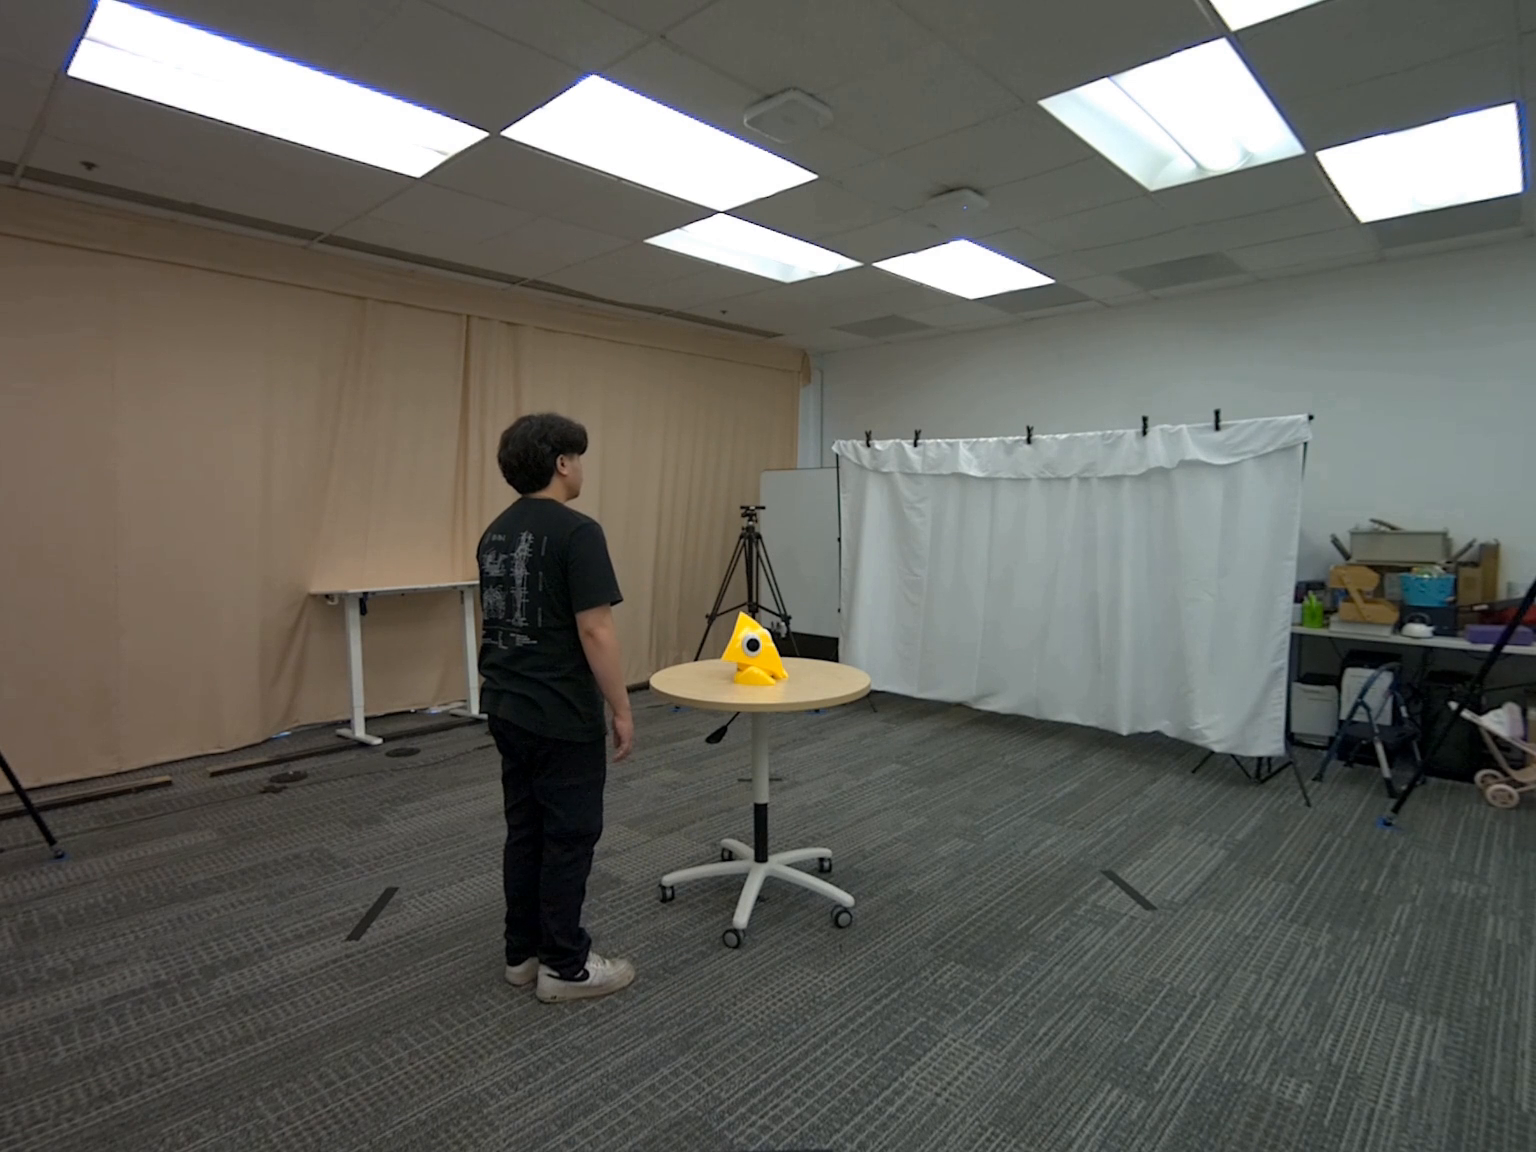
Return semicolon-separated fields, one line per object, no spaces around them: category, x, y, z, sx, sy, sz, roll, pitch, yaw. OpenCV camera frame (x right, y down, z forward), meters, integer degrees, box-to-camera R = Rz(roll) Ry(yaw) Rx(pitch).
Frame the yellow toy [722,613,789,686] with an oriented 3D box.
yellow toy;-0.034;0.245;2.909;0.198;0.230;0.200;2;5;24
